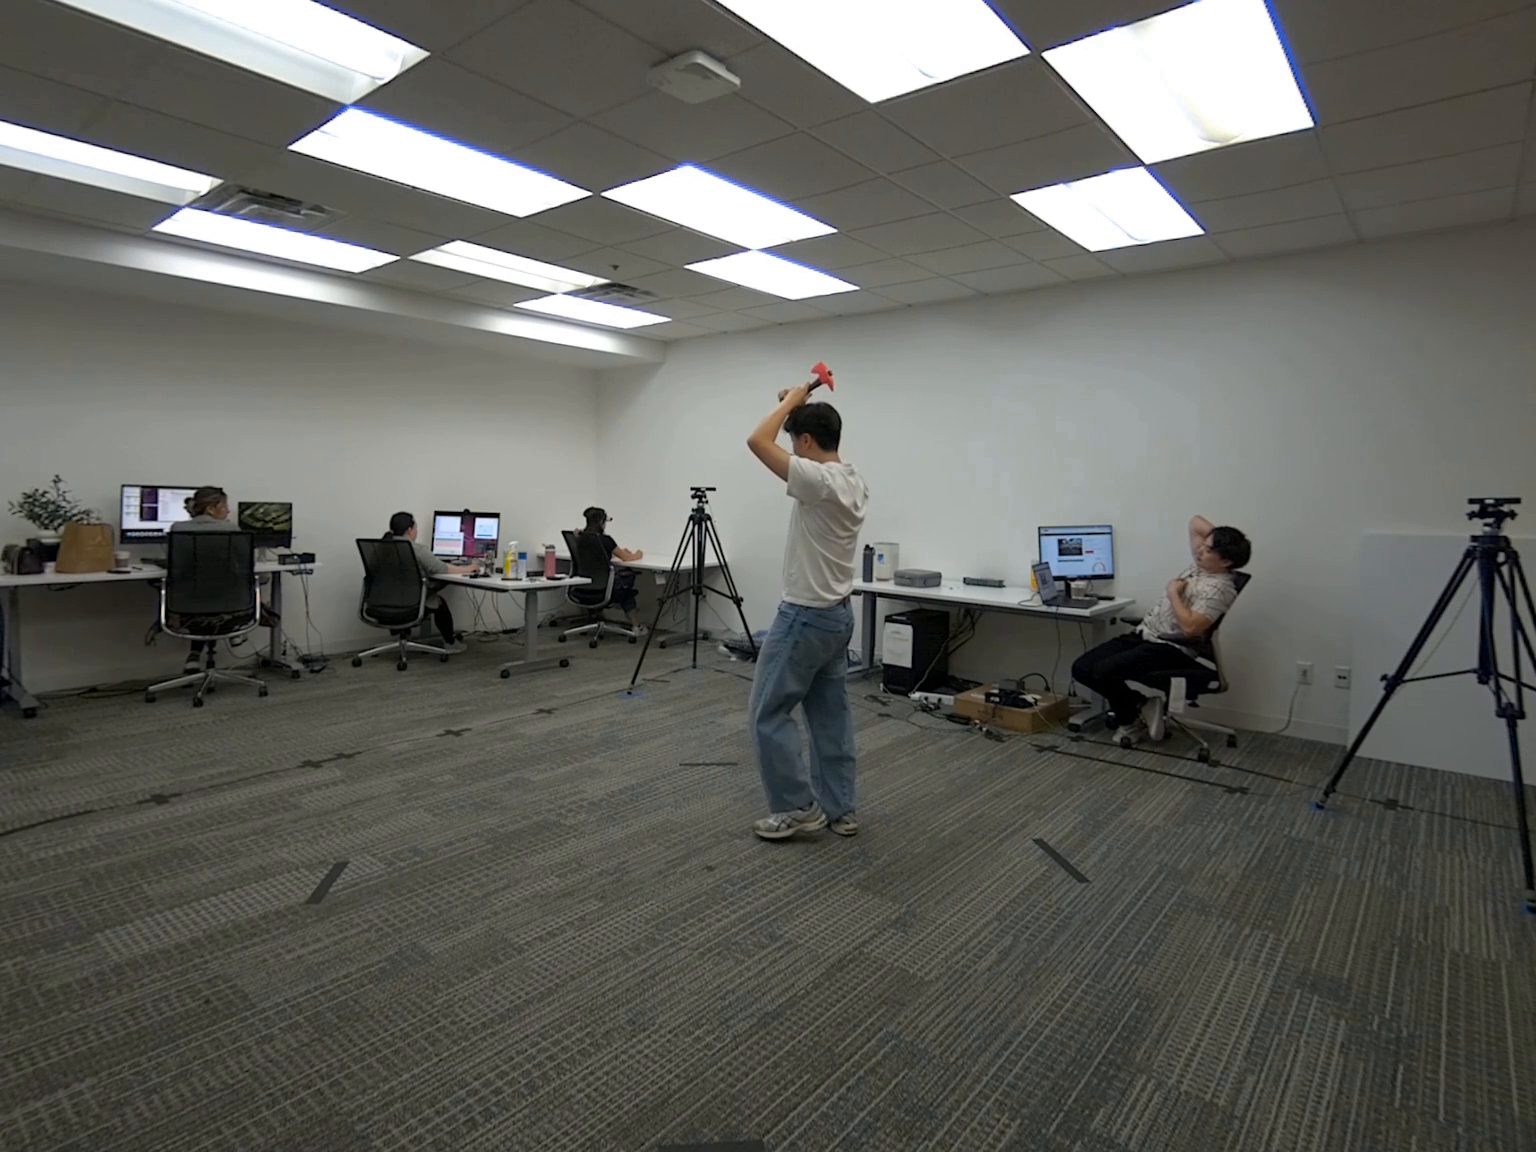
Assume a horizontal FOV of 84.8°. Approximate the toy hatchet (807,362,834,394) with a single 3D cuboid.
[{"bbox_3d":[0.134,-0.791,3.436,0.278,0.130,0.029,-5,6,44],"label":"toy hatchet"}]
